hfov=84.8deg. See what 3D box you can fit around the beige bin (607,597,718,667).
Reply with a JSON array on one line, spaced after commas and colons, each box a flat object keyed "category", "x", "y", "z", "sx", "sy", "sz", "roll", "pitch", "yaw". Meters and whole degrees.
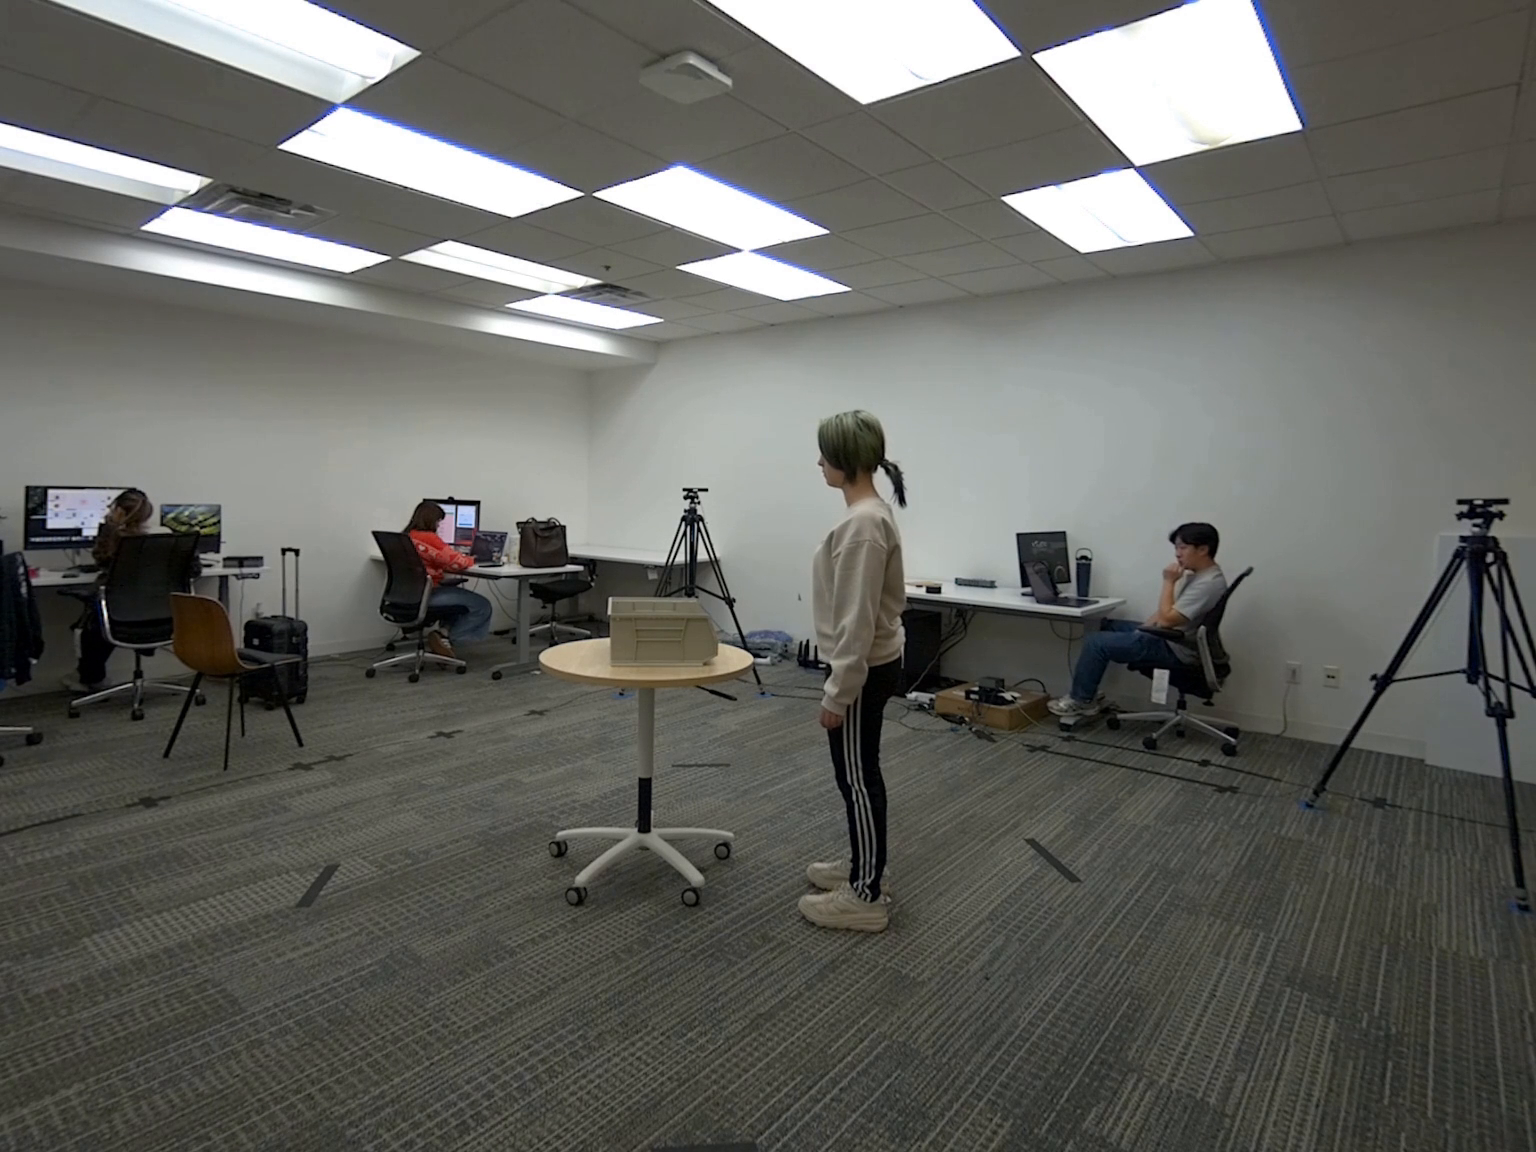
[{"category": "beige bin", "x": -0.392, "y": 0.201, "z": 3.082, "sx": 0.374, "sy": 0.188, "sz": 0.428, "roll": 1, "pitch": 6, "yaw": -9}]
